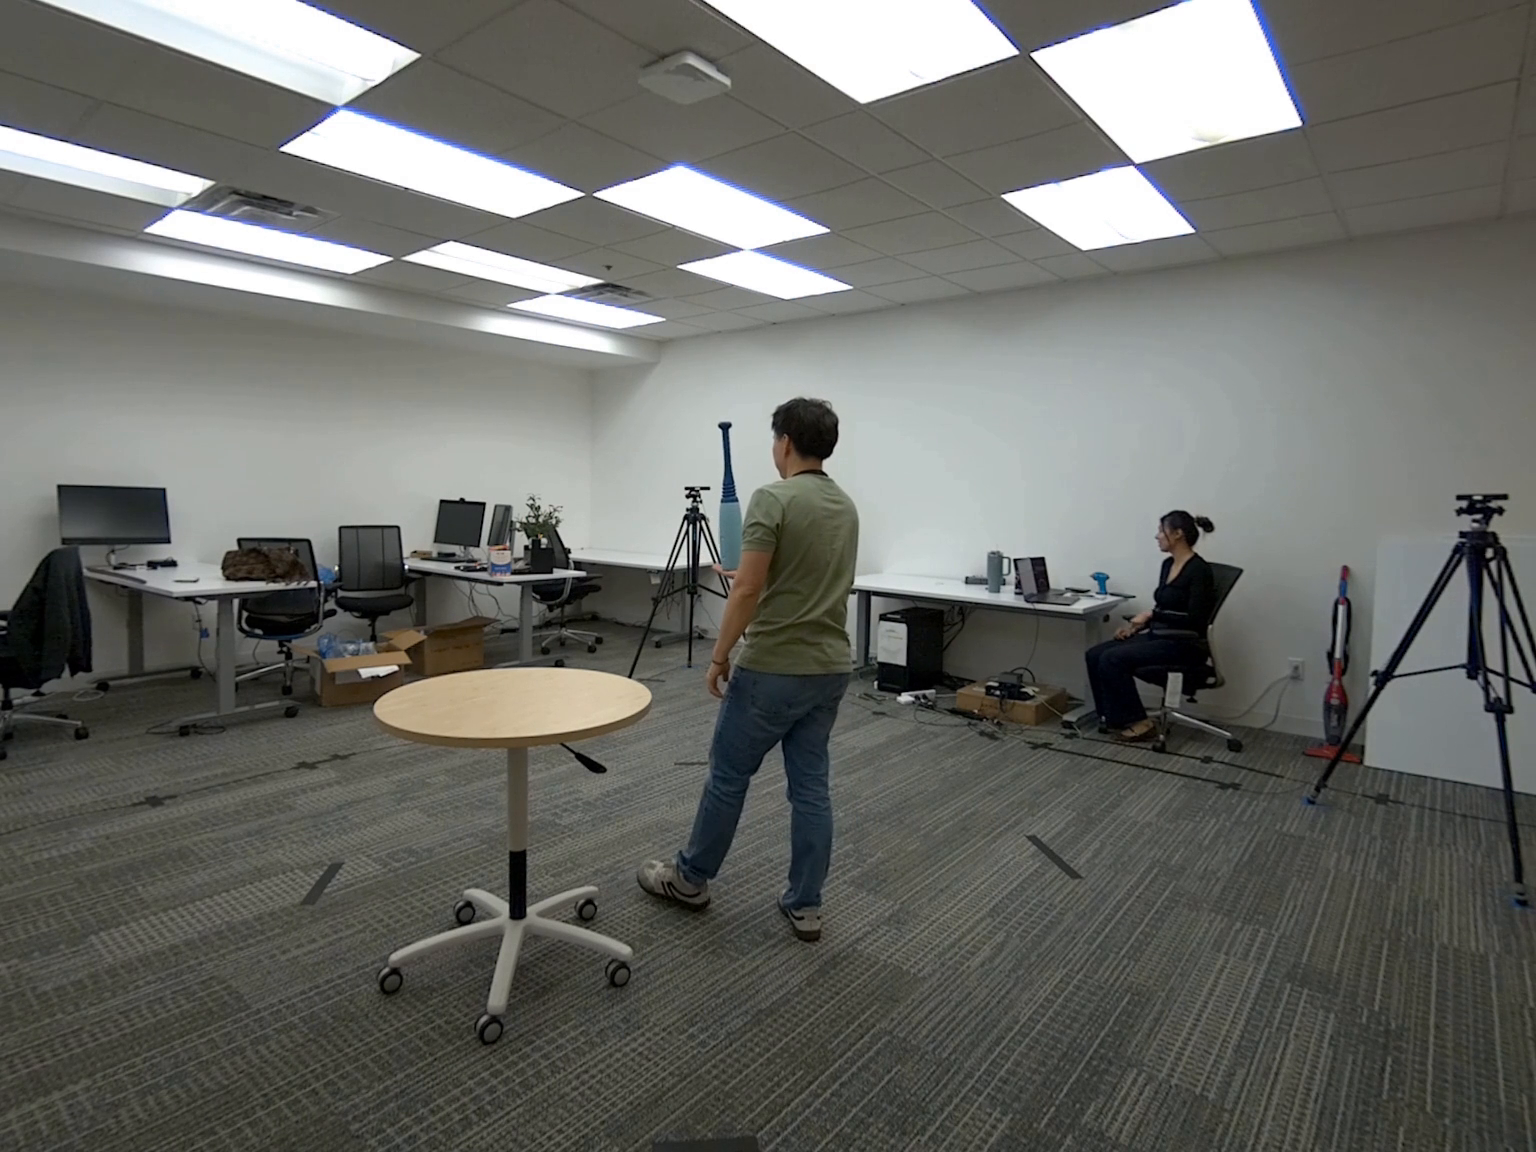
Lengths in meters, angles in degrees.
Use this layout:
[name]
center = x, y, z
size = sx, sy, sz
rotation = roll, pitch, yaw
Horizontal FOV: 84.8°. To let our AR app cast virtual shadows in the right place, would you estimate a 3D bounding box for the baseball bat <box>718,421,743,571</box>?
[baseball bat]
center = -0.160, -0.295, 3.096
size = 0.089, 0.540, 0.089
rotation = -4, 5, -1
